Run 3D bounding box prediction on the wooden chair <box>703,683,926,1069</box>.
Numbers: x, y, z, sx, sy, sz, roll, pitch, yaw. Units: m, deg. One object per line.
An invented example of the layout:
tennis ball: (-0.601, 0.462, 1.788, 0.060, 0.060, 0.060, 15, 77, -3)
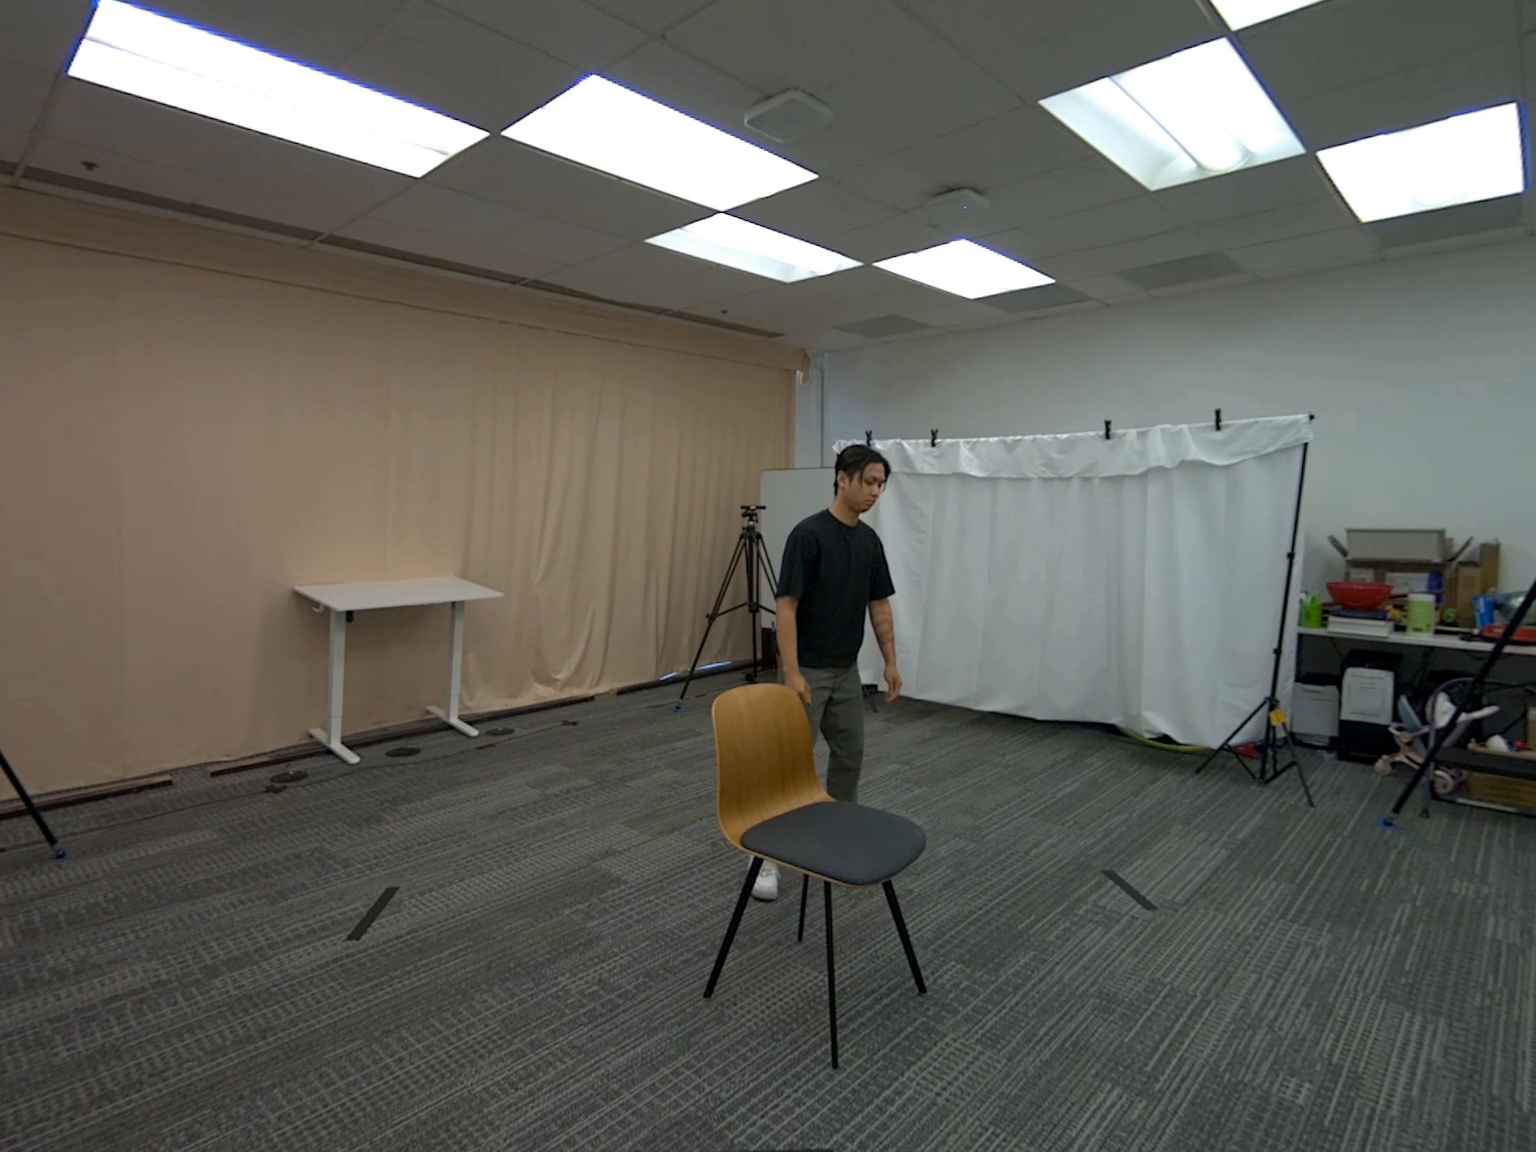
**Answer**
wooden chair: (0.143, 0.773, 2.356, 0.539, 0.877, 0.464, -2, 1, 40)
